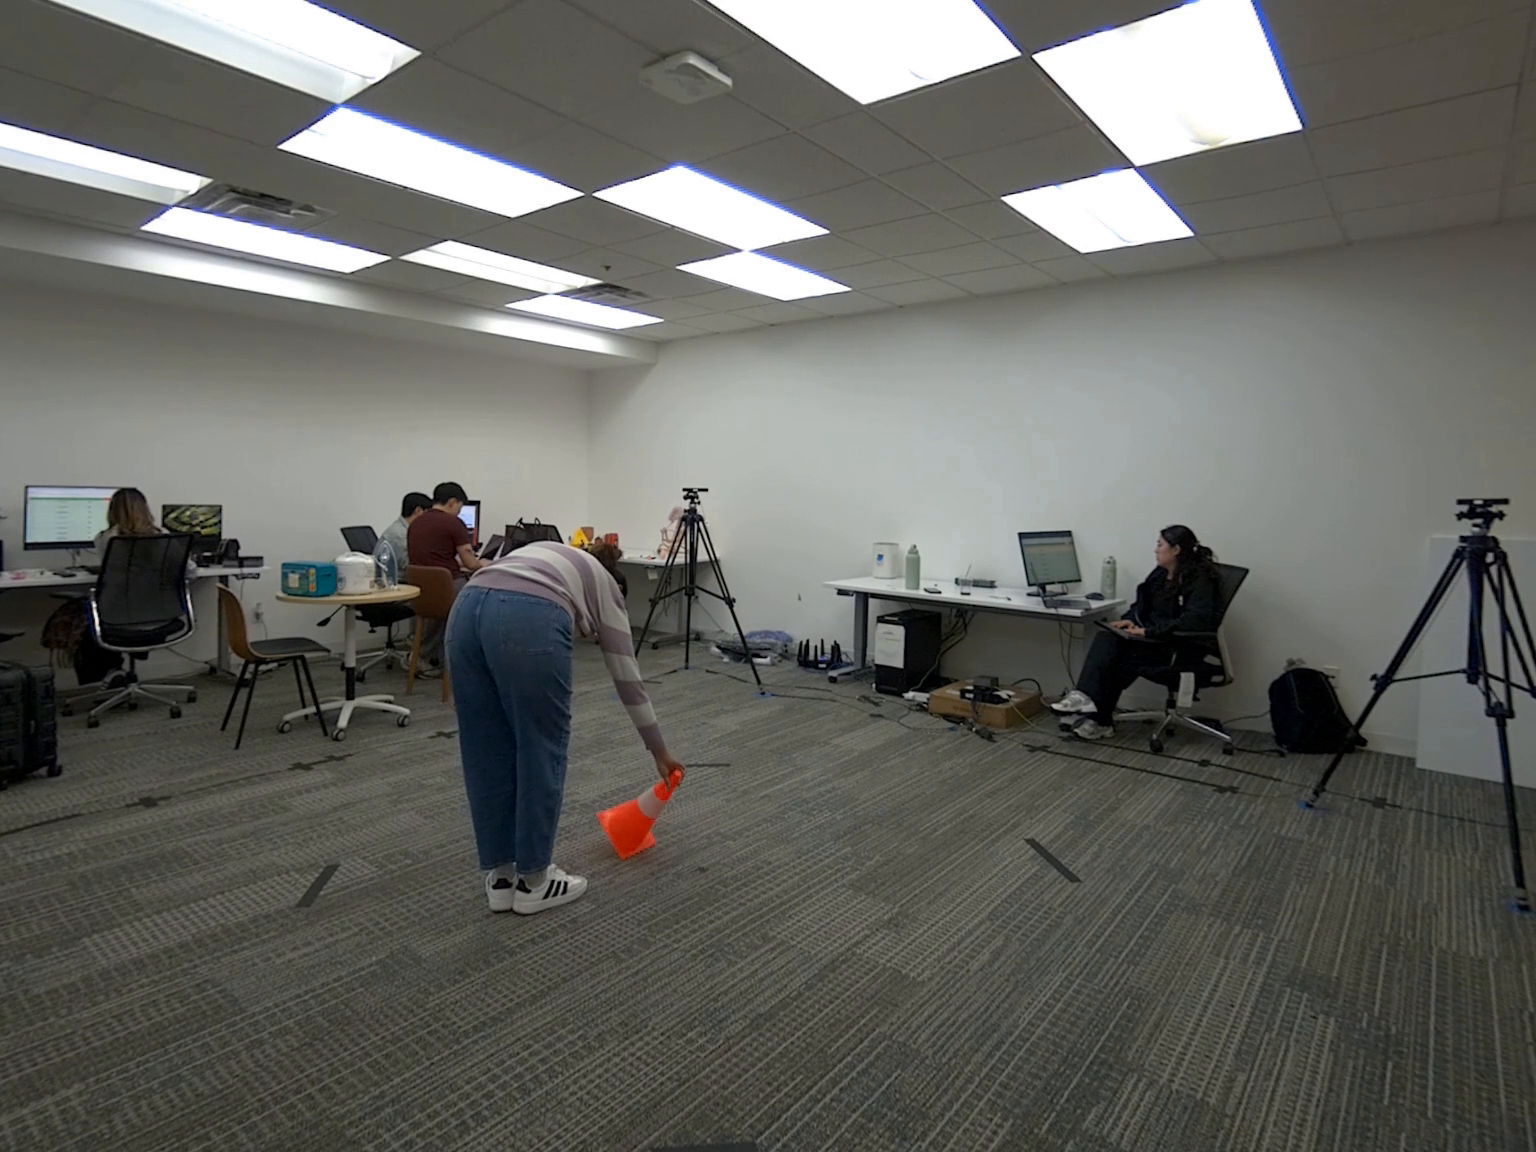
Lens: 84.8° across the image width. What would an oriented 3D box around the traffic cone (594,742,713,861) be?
[{"bbox_3d":[-0.439,0.851,3.187,0.383,0.210,0.199,-49,-19,29],"label":"traffic cone"}]
